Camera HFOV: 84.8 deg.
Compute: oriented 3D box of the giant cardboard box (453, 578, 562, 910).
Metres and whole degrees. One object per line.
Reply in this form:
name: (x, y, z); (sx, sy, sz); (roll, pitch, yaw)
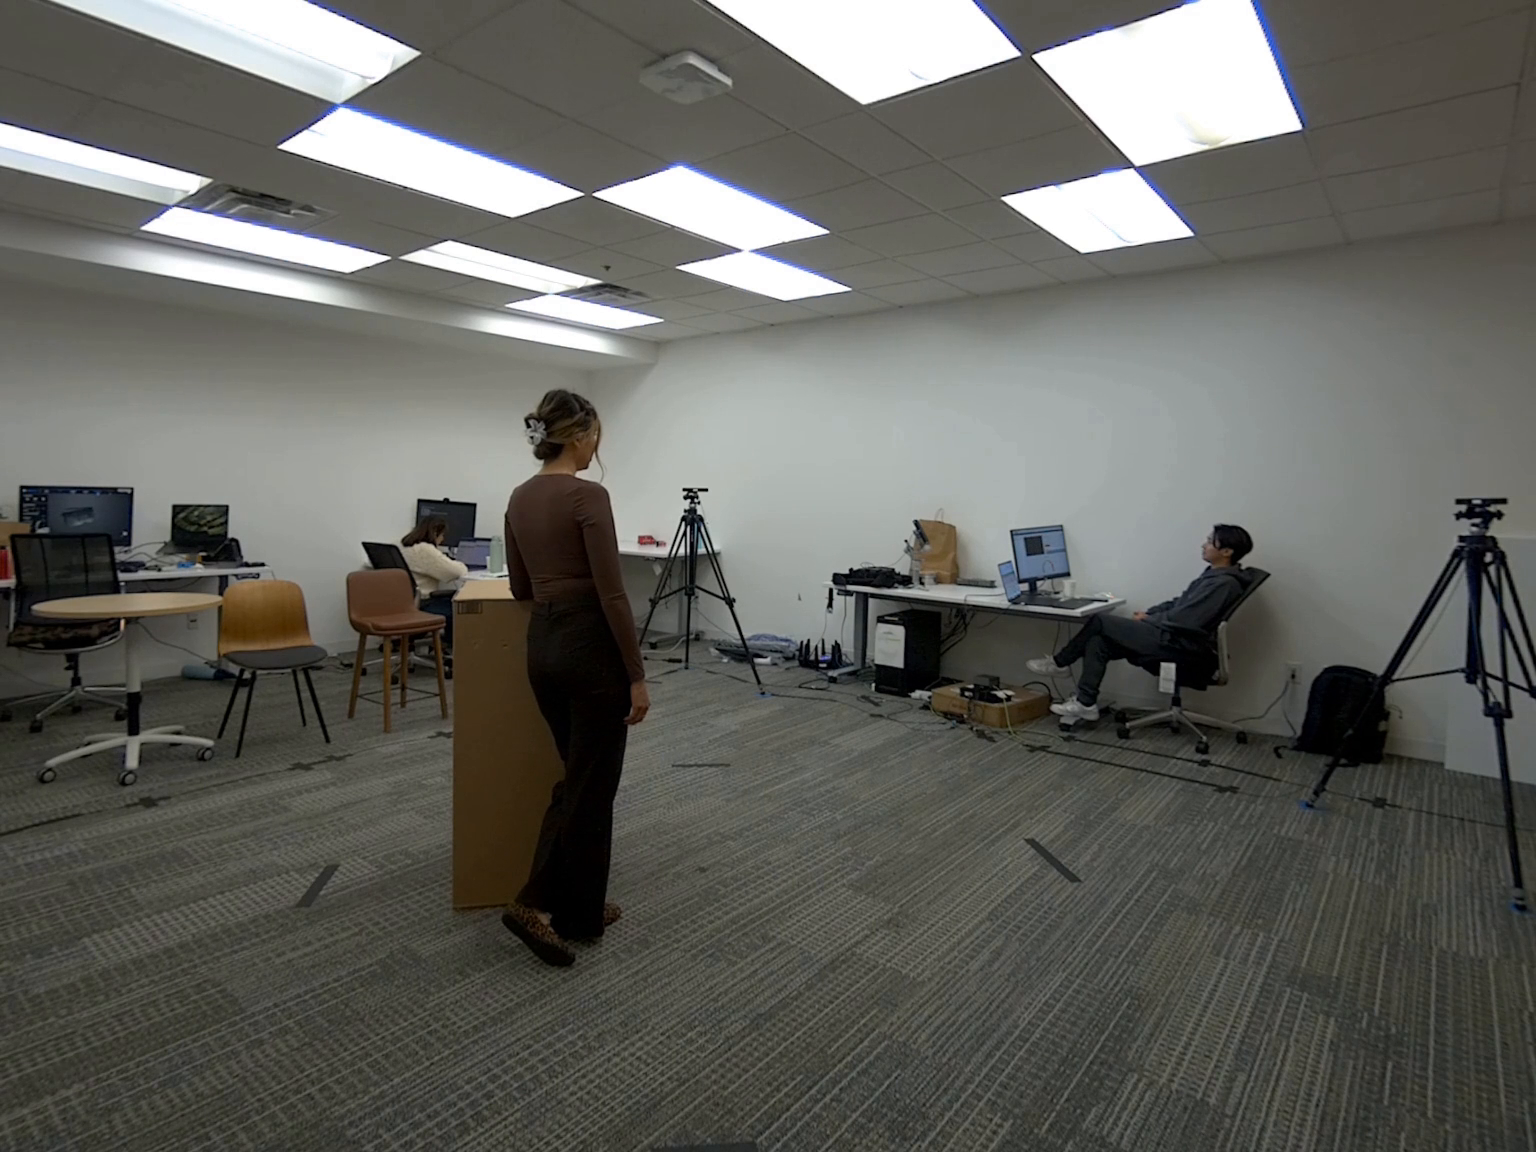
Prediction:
giant cardboard box: (-0.910, 0.553, 3.080); (0.440, 1.024, 0.594); (0, 3, -15)
